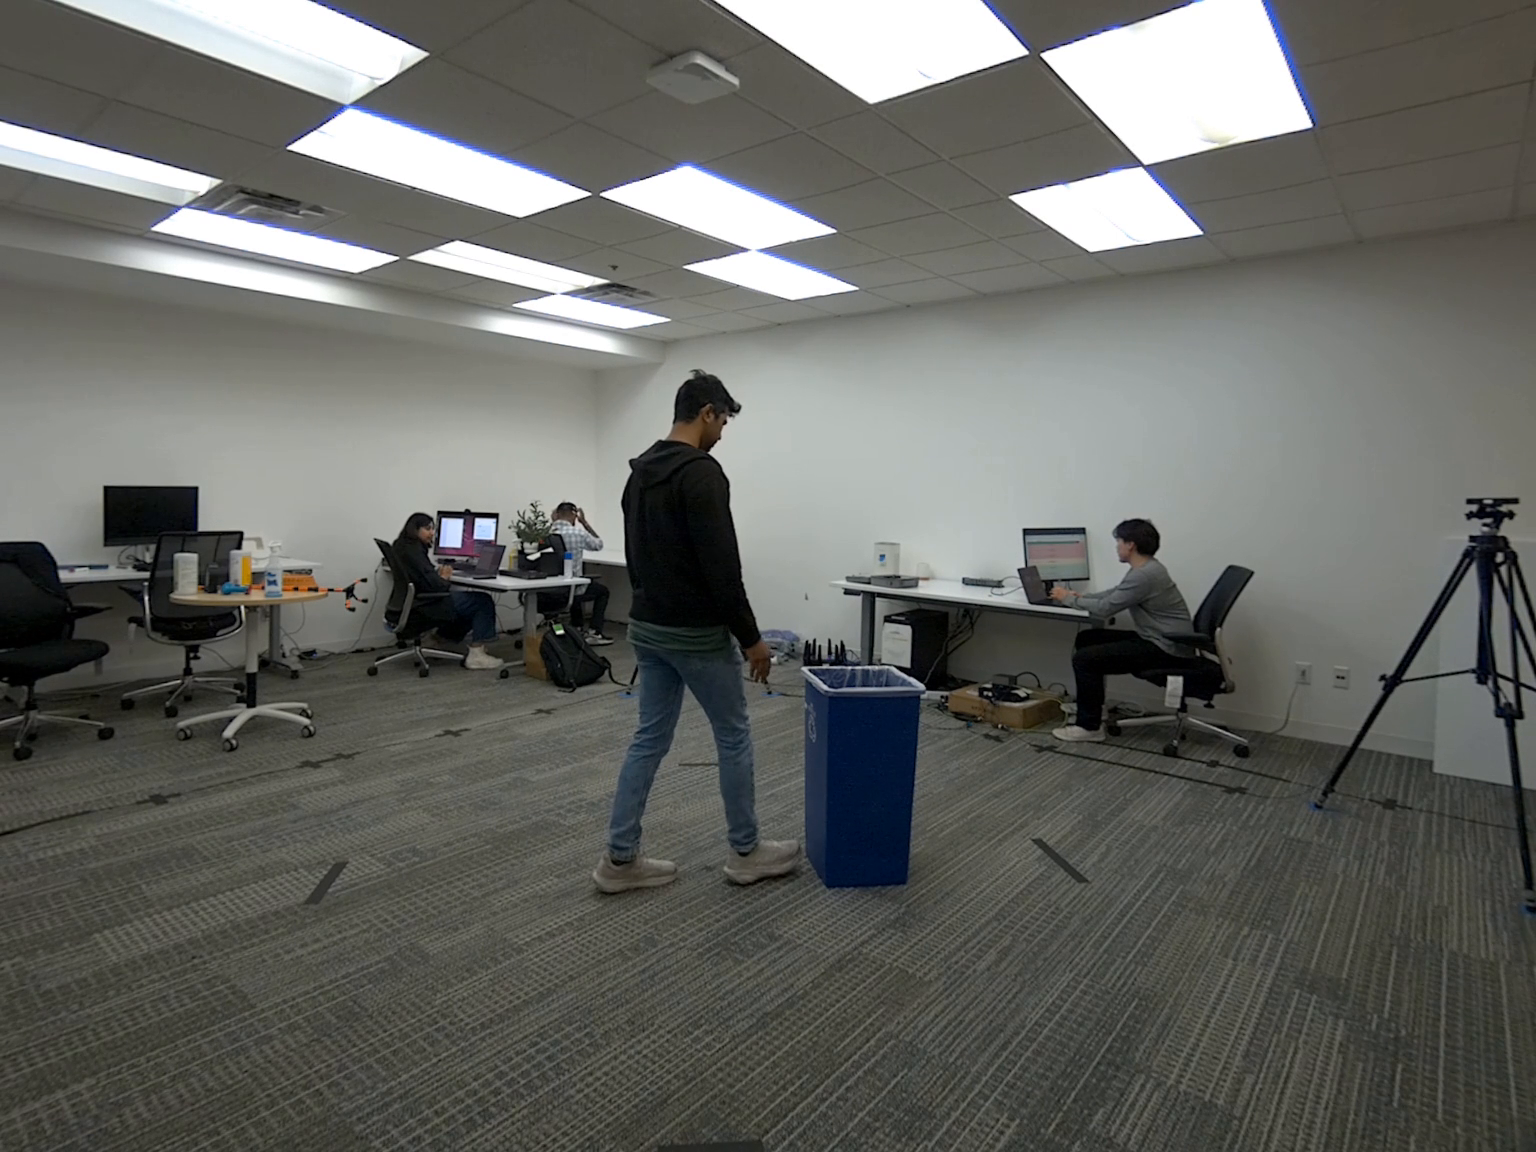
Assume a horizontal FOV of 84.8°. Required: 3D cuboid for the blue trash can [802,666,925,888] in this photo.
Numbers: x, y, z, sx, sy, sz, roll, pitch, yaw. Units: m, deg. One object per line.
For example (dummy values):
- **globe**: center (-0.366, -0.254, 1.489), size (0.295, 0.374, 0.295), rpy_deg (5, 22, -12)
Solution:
- **blue trash can**: center (0.319, 0.723, 3.115), size (0.370, 0.711, 0.384), rpy_deg (1, 4, -11)
